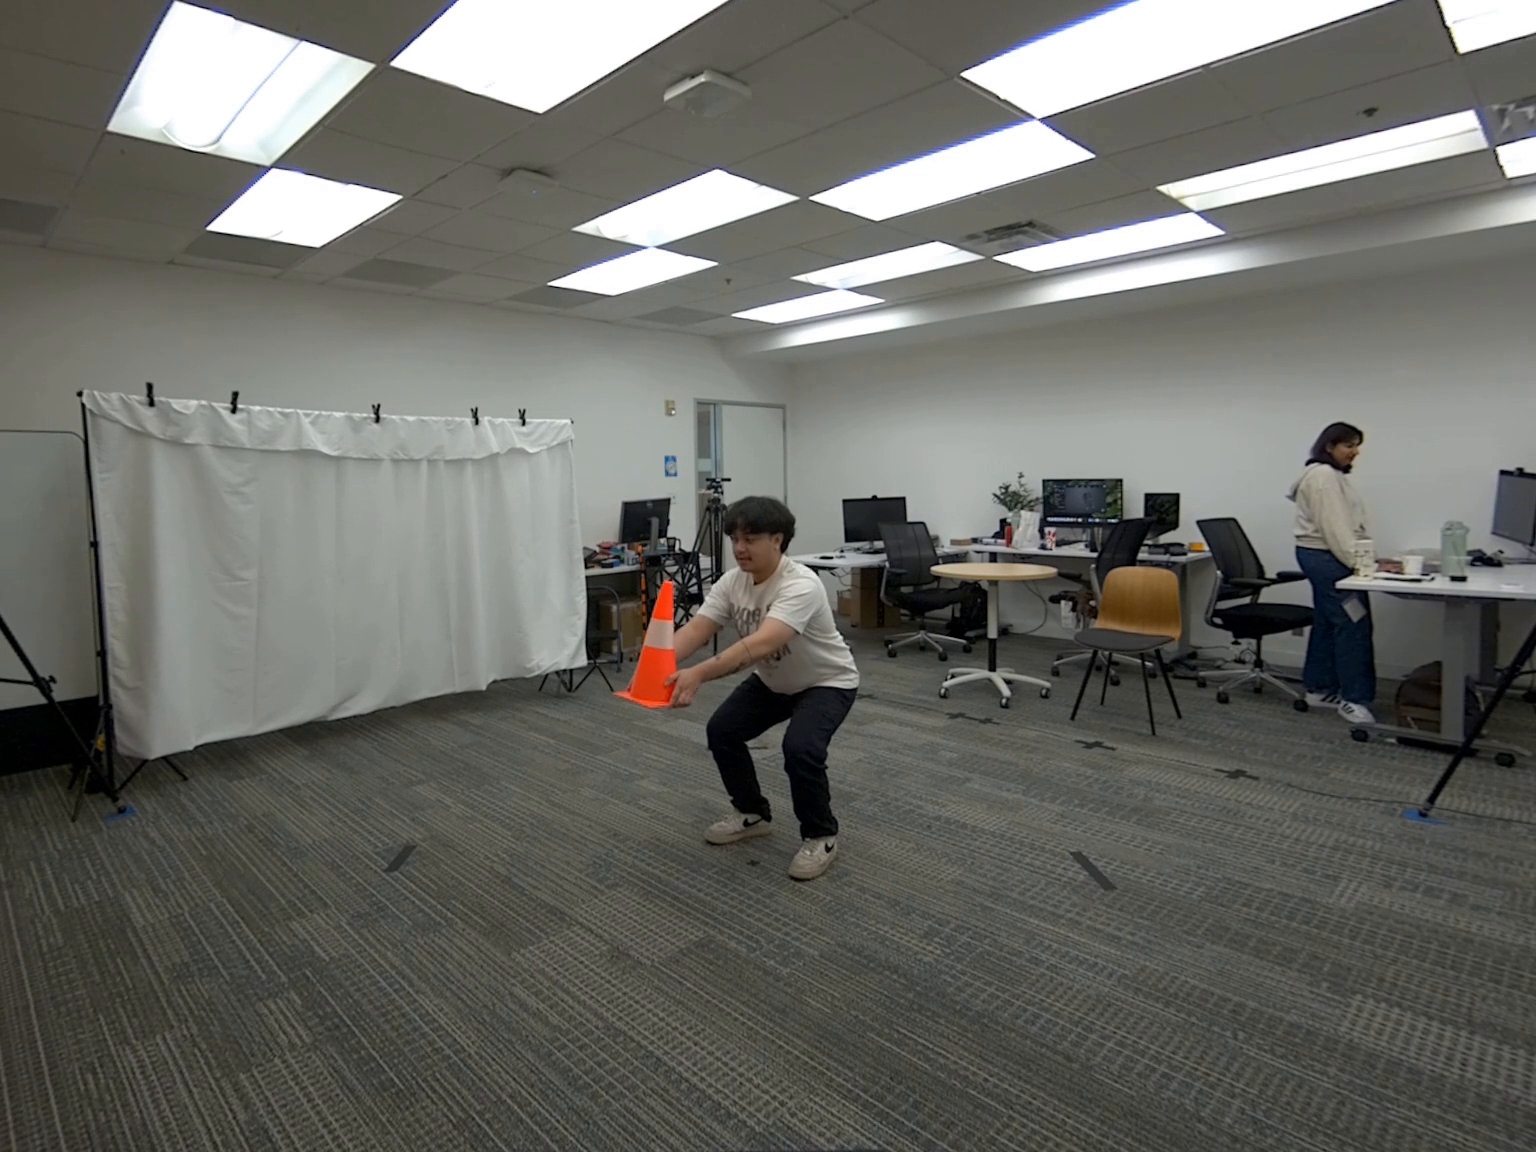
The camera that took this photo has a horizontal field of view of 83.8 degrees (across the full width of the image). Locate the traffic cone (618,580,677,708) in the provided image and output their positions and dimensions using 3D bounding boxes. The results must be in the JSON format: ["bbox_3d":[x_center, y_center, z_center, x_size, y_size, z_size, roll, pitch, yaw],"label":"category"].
[{"bbox_3d":[-0.342,0.210,2.764,0.211,0.383,0.198,5,1,32],"label":"traffic cone"}]
